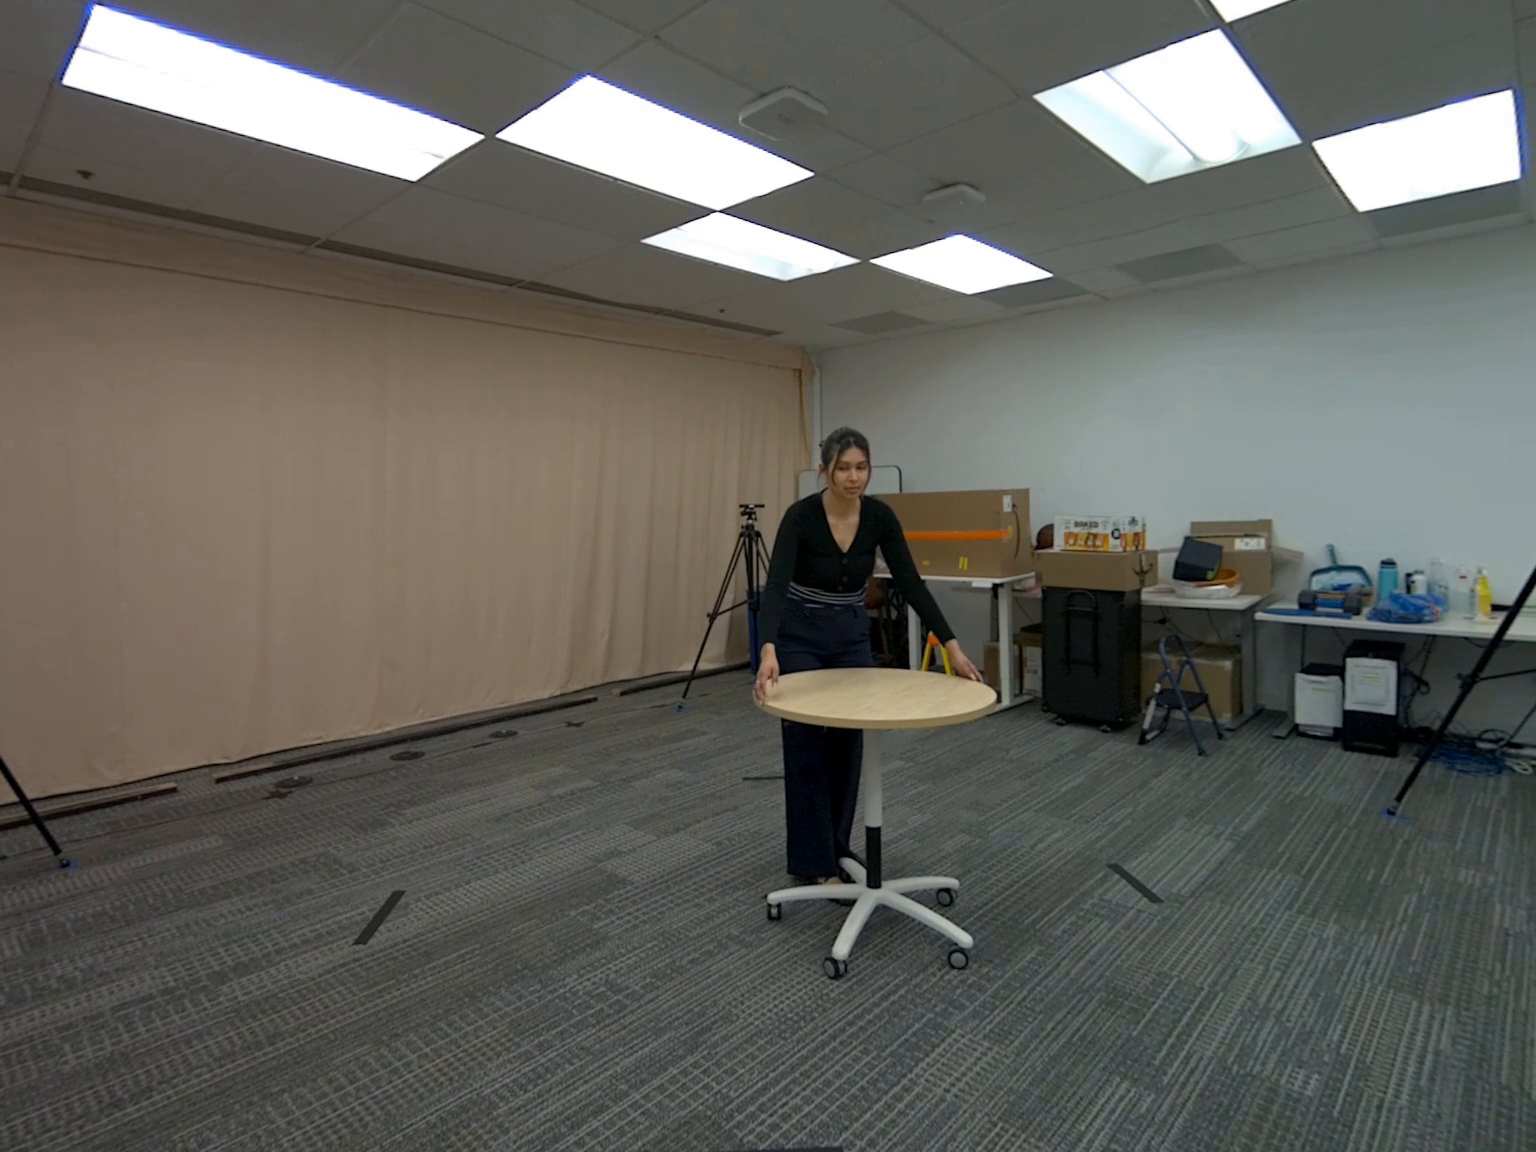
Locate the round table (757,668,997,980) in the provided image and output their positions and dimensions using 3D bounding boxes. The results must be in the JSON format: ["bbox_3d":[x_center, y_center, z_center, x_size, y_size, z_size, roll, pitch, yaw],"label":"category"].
[{"bbox_3d":[0.349,0.764,2.734,0.763,0.792,0.767,-1,4,-2],"label":"round table"}]
